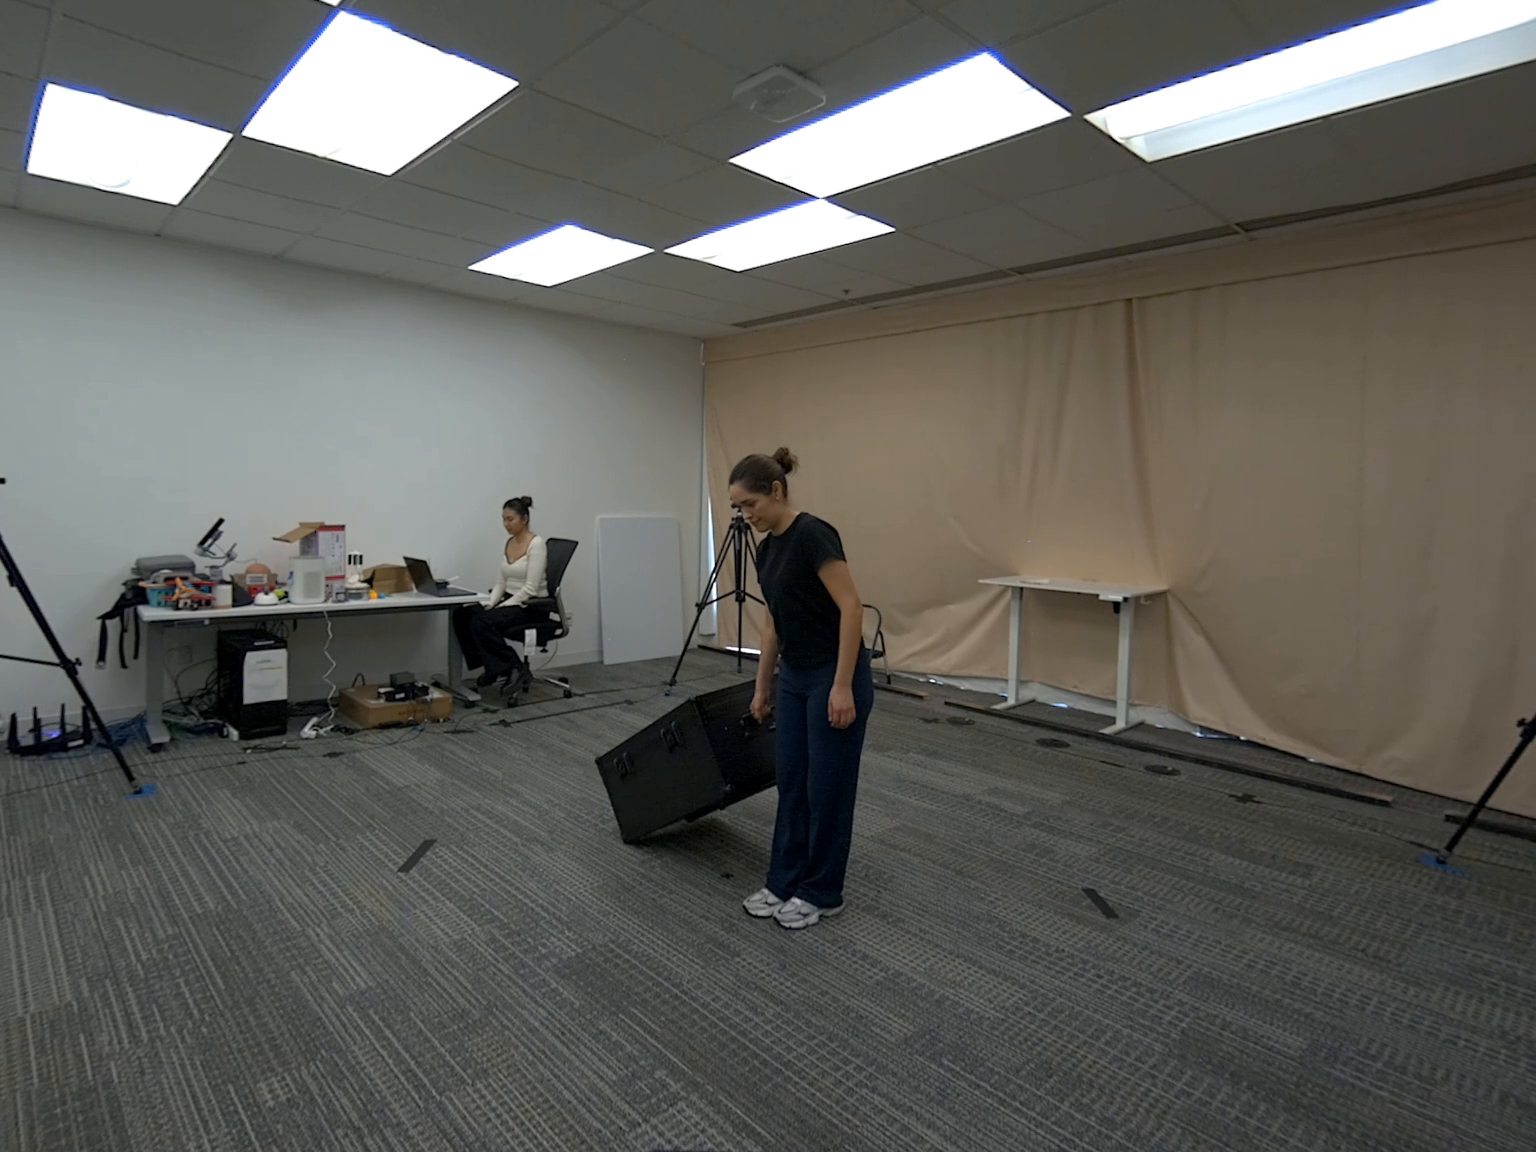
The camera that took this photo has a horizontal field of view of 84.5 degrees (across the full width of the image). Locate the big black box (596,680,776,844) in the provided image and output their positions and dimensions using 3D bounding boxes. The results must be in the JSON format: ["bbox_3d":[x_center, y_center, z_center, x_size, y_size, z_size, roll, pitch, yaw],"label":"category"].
[{"bbox_3d":[-0.240,0.714,3.273,0.511,0.403,0.865,-9,-20,-42],"label":"big black box"}]
